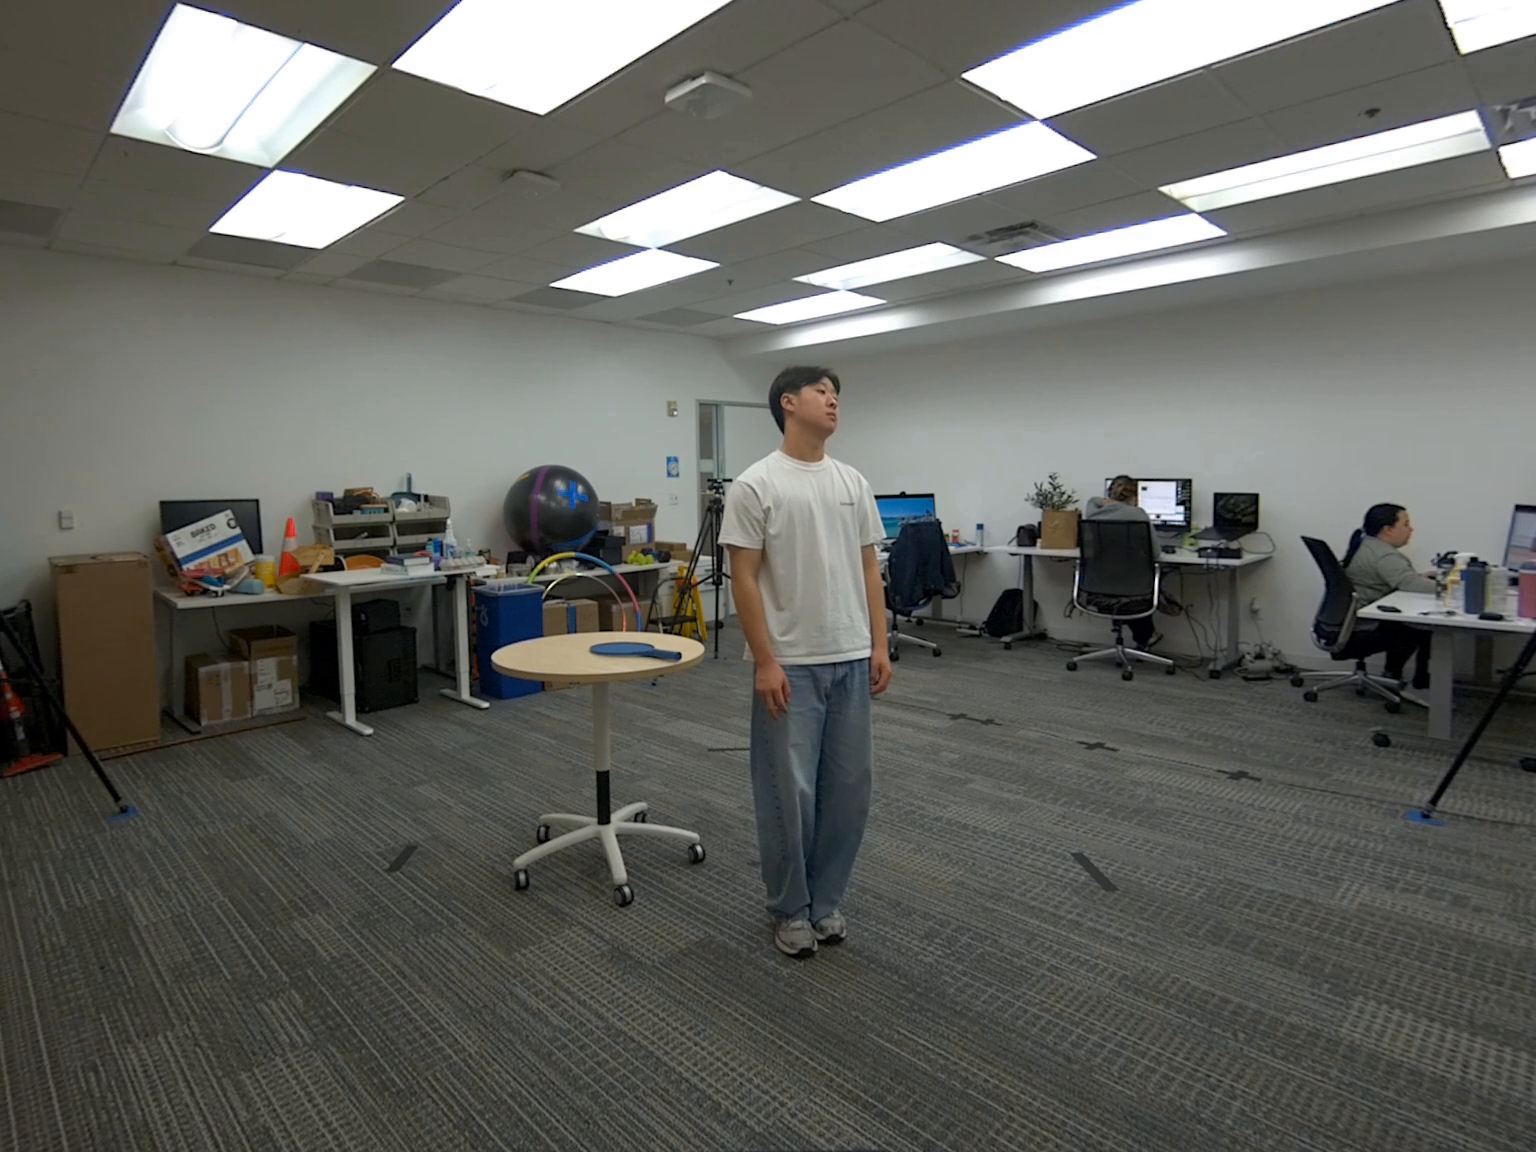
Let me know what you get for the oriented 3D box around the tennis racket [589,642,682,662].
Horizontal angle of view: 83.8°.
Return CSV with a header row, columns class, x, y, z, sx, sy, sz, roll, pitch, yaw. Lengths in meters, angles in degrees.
class,x,y,z,sx,sy,sz,roll,pitch,yaw
tennis racket,-0.468,0.269,3.038,0.446,0.031,0.208,3,7,45
